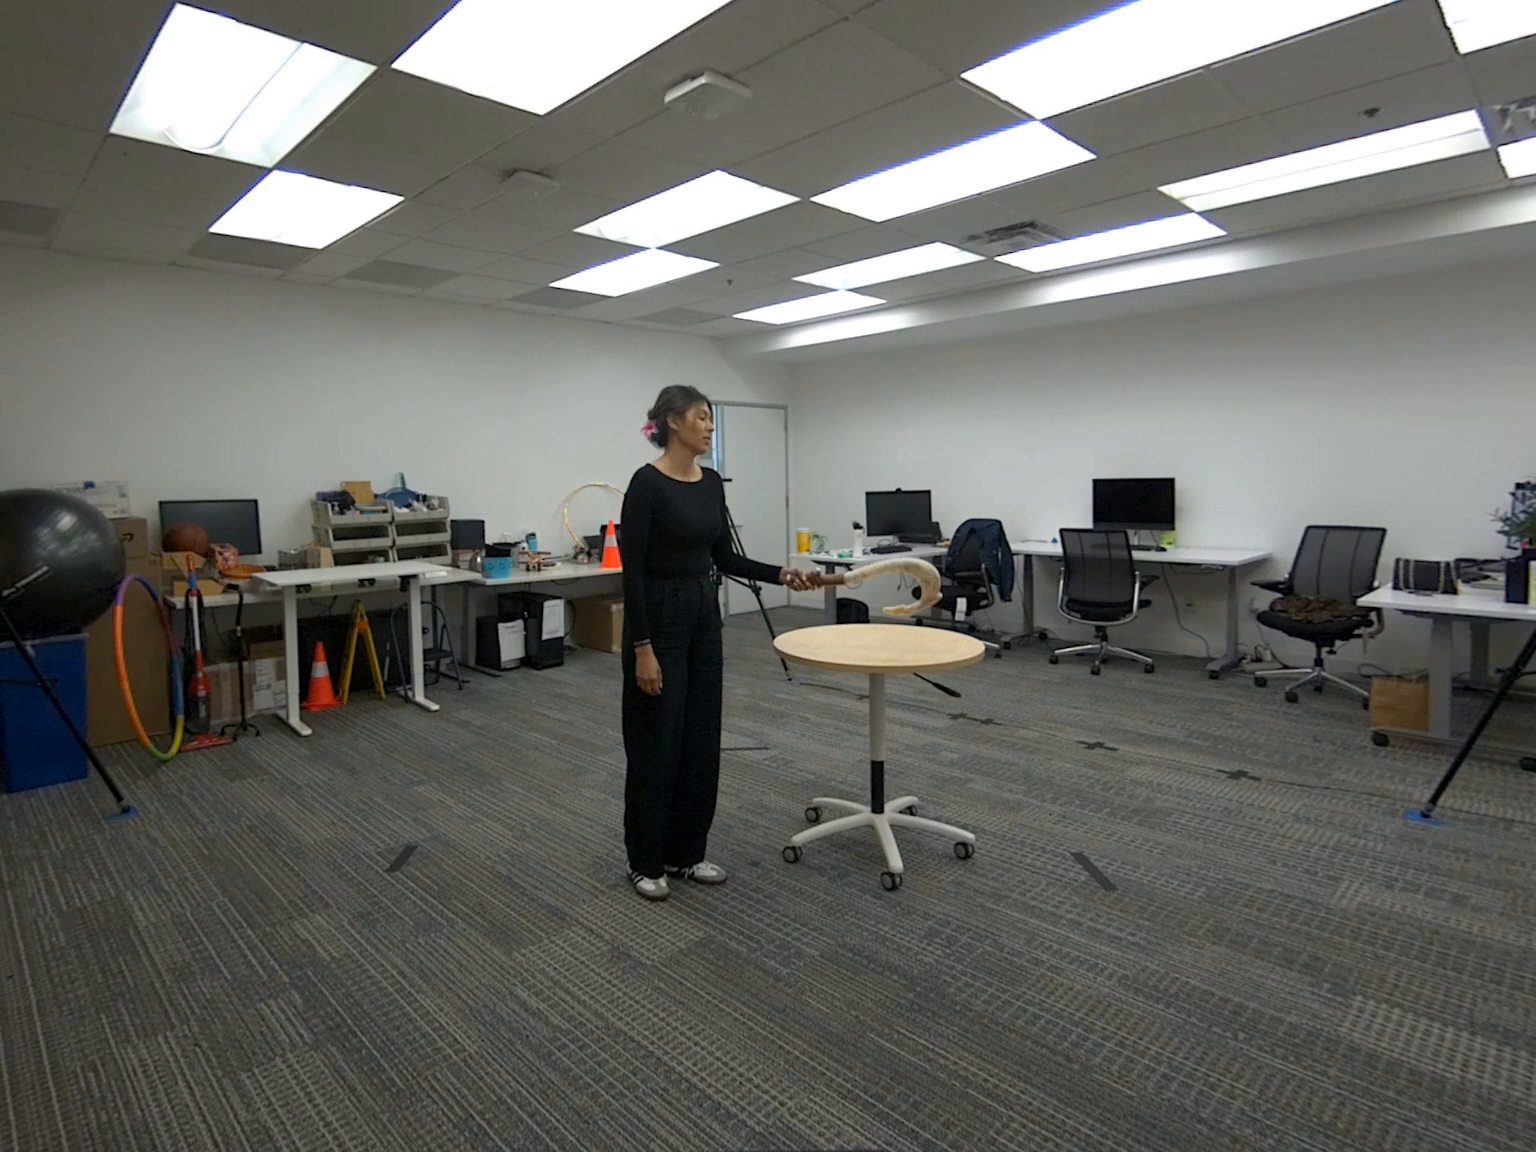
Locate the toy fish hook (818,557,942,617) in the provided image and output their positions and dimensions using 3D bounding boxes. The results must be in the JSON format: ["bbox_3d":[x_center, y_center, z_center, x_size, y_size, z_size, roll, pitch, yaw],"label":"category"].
[{"bbox_3d":[0.302,0.059,2.849,0.515,0.220,0.048,-3,23,18],"label":"toy fish hook"}]
